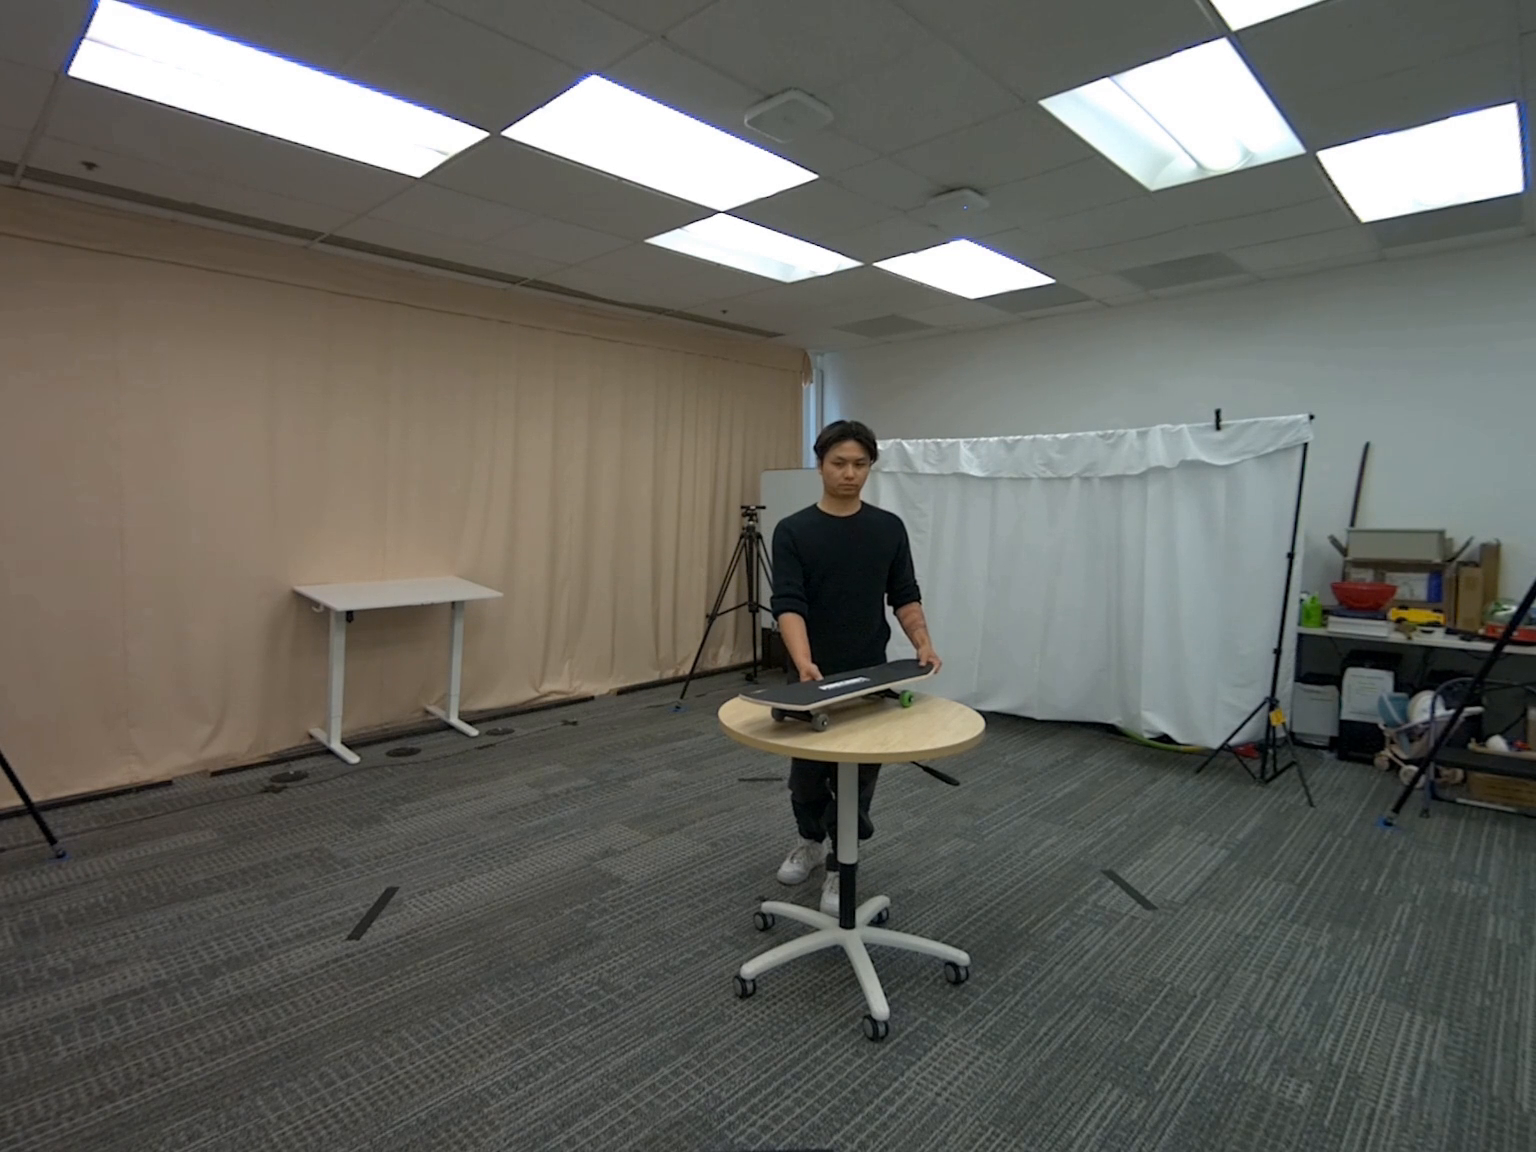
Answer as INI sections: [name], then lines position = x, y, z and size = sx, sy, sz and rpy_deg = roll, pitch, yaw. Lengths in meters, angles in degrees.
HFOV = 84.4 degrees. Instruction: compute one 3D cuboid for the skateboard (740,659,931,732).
[skateboard]
position = 0.231, 0.357, 2.467
size = 0.761, 0.110, 0.200
rpy_deg = -4, 5, -43
